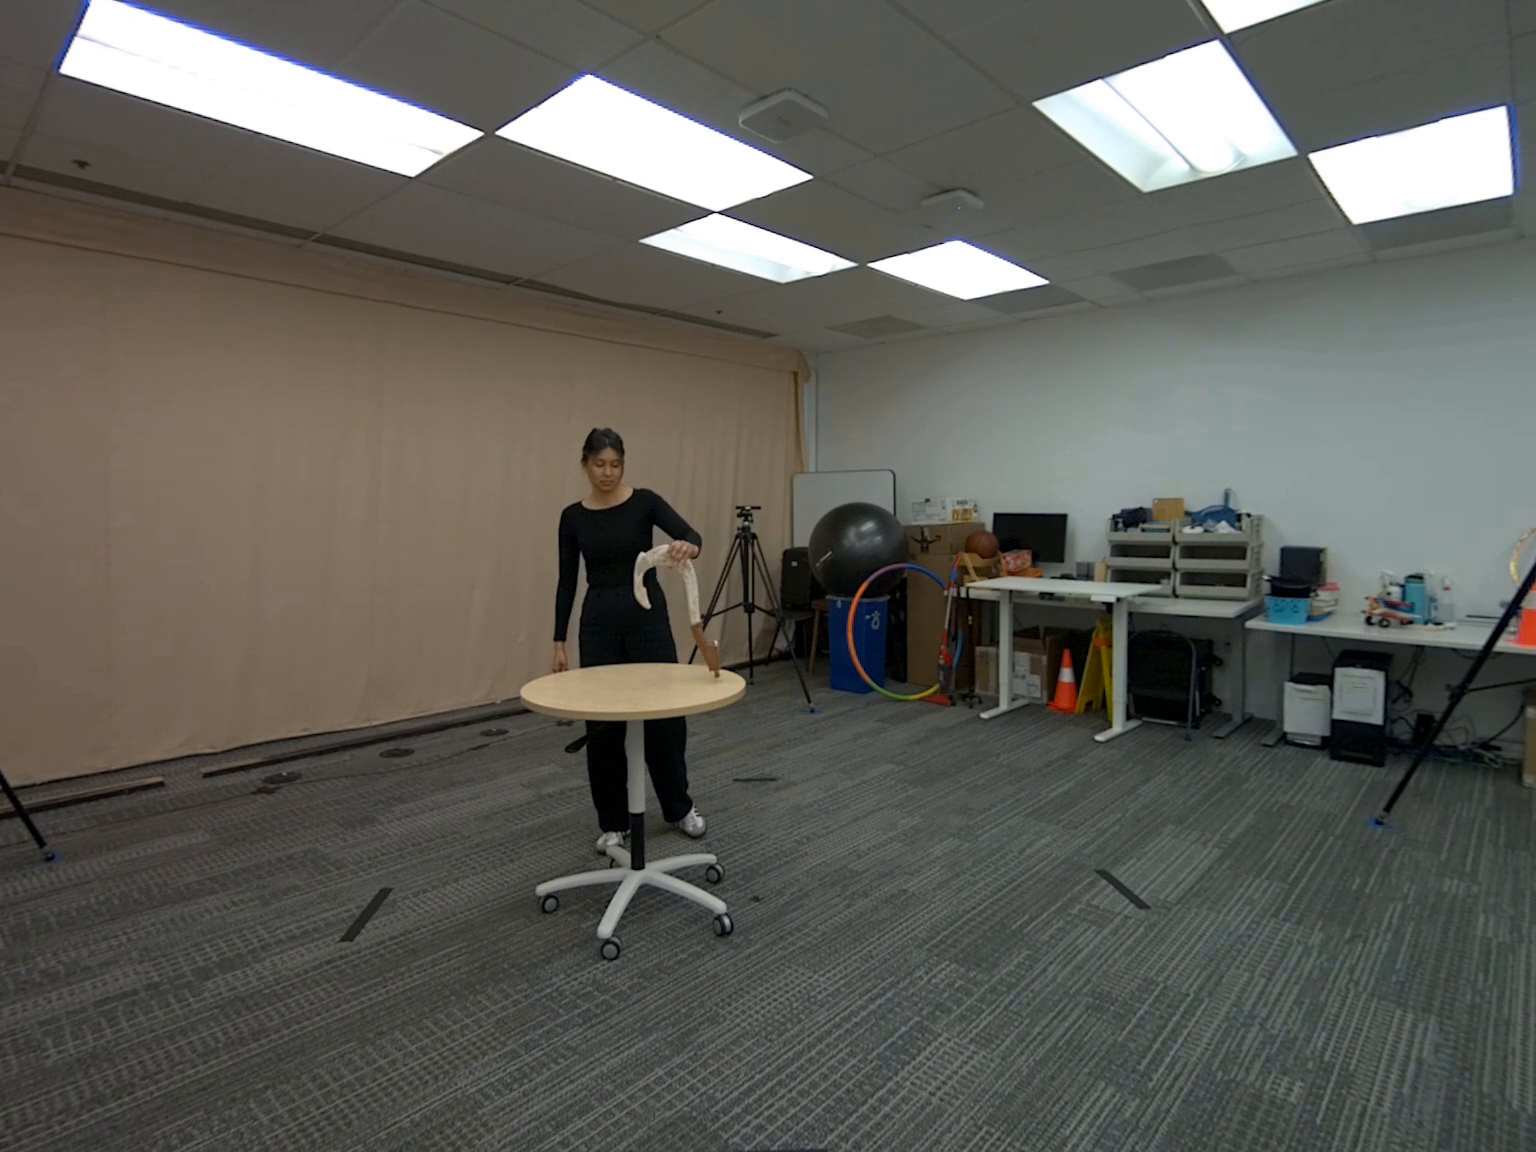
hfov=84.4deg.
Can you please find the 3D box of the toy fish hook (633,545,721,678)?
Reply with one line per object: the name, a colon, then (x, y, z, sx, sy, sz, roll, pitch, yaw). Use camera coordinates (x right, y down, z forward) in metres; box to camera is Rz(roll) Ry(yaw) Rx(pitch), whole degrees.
toy fish hook: (-0.301, 0.147, 2.943, 0.224, 0.512, 0.048, -24, -10, -5)
